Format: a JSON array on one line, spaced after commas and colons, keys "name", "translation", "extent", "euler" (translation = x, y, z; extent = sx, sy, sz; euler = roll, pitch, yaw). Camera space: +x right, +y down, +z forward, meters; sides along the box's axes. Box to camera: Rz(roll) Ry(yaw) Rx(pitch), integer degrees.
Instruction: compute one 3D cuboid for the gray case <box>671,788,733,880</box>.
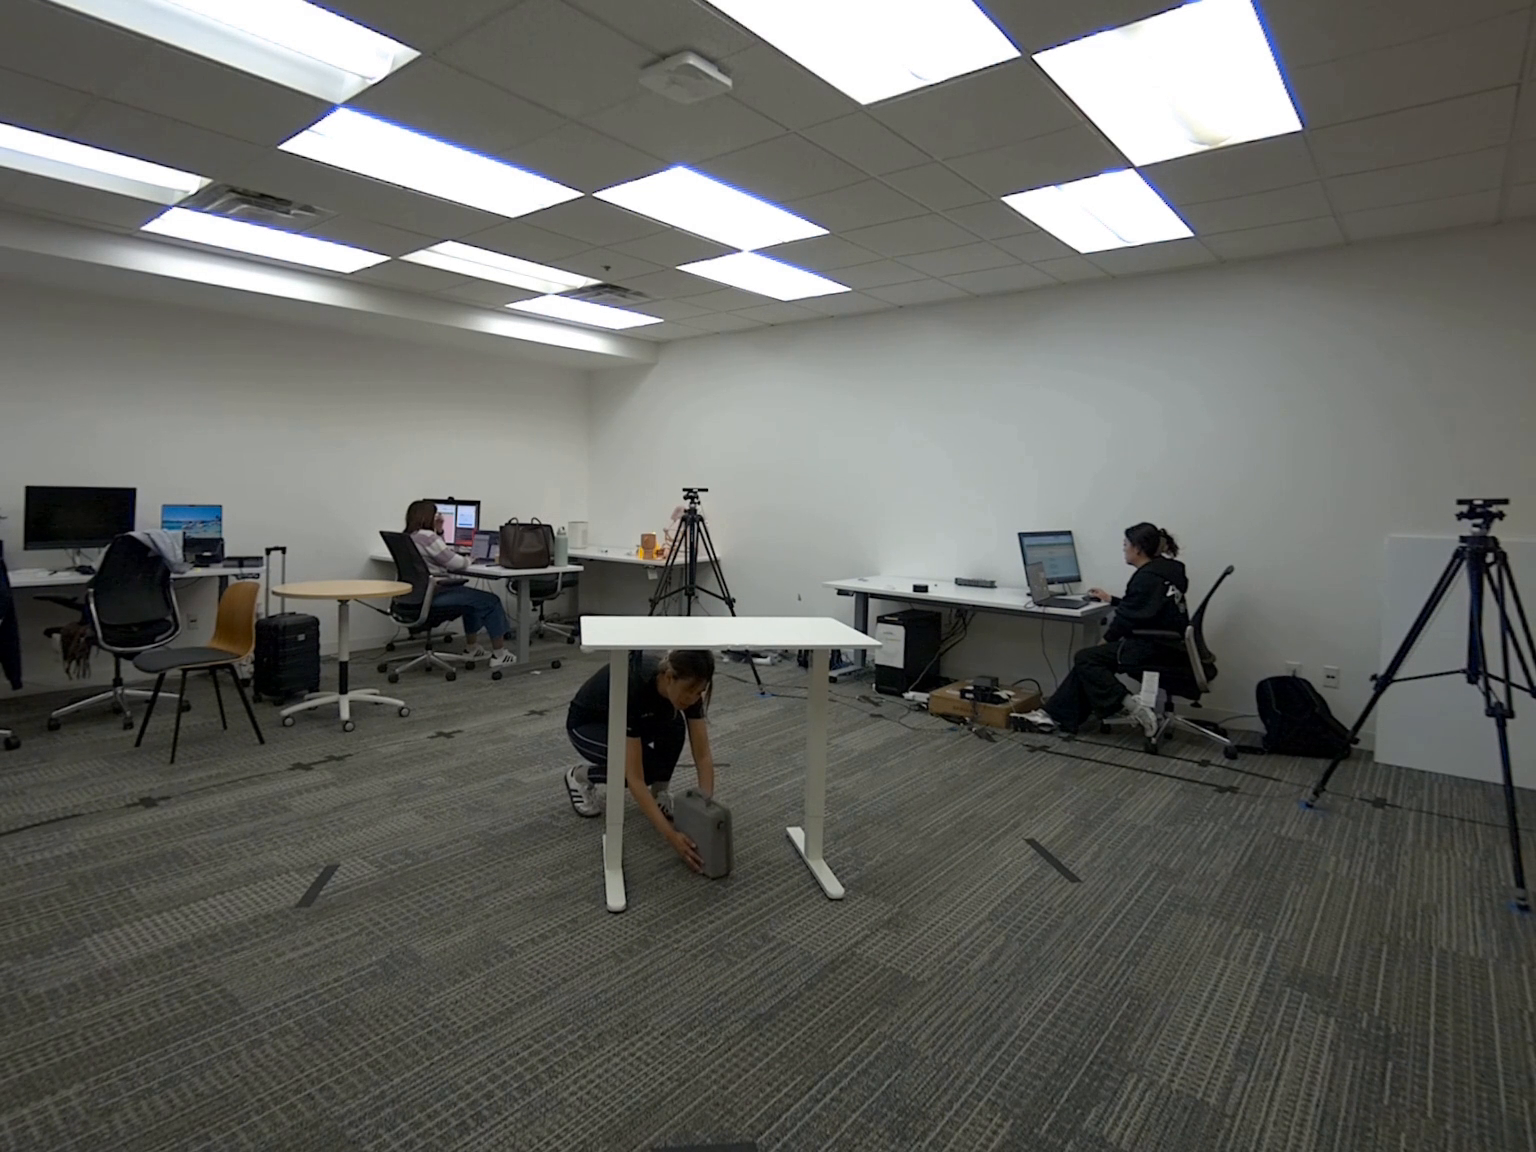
[{"name": "gray case", "translation": [-0.249, 0.930, 3.117], "extent": [0.101, 0.259, 0.265], "euler": [-8, 8, -38]}]
